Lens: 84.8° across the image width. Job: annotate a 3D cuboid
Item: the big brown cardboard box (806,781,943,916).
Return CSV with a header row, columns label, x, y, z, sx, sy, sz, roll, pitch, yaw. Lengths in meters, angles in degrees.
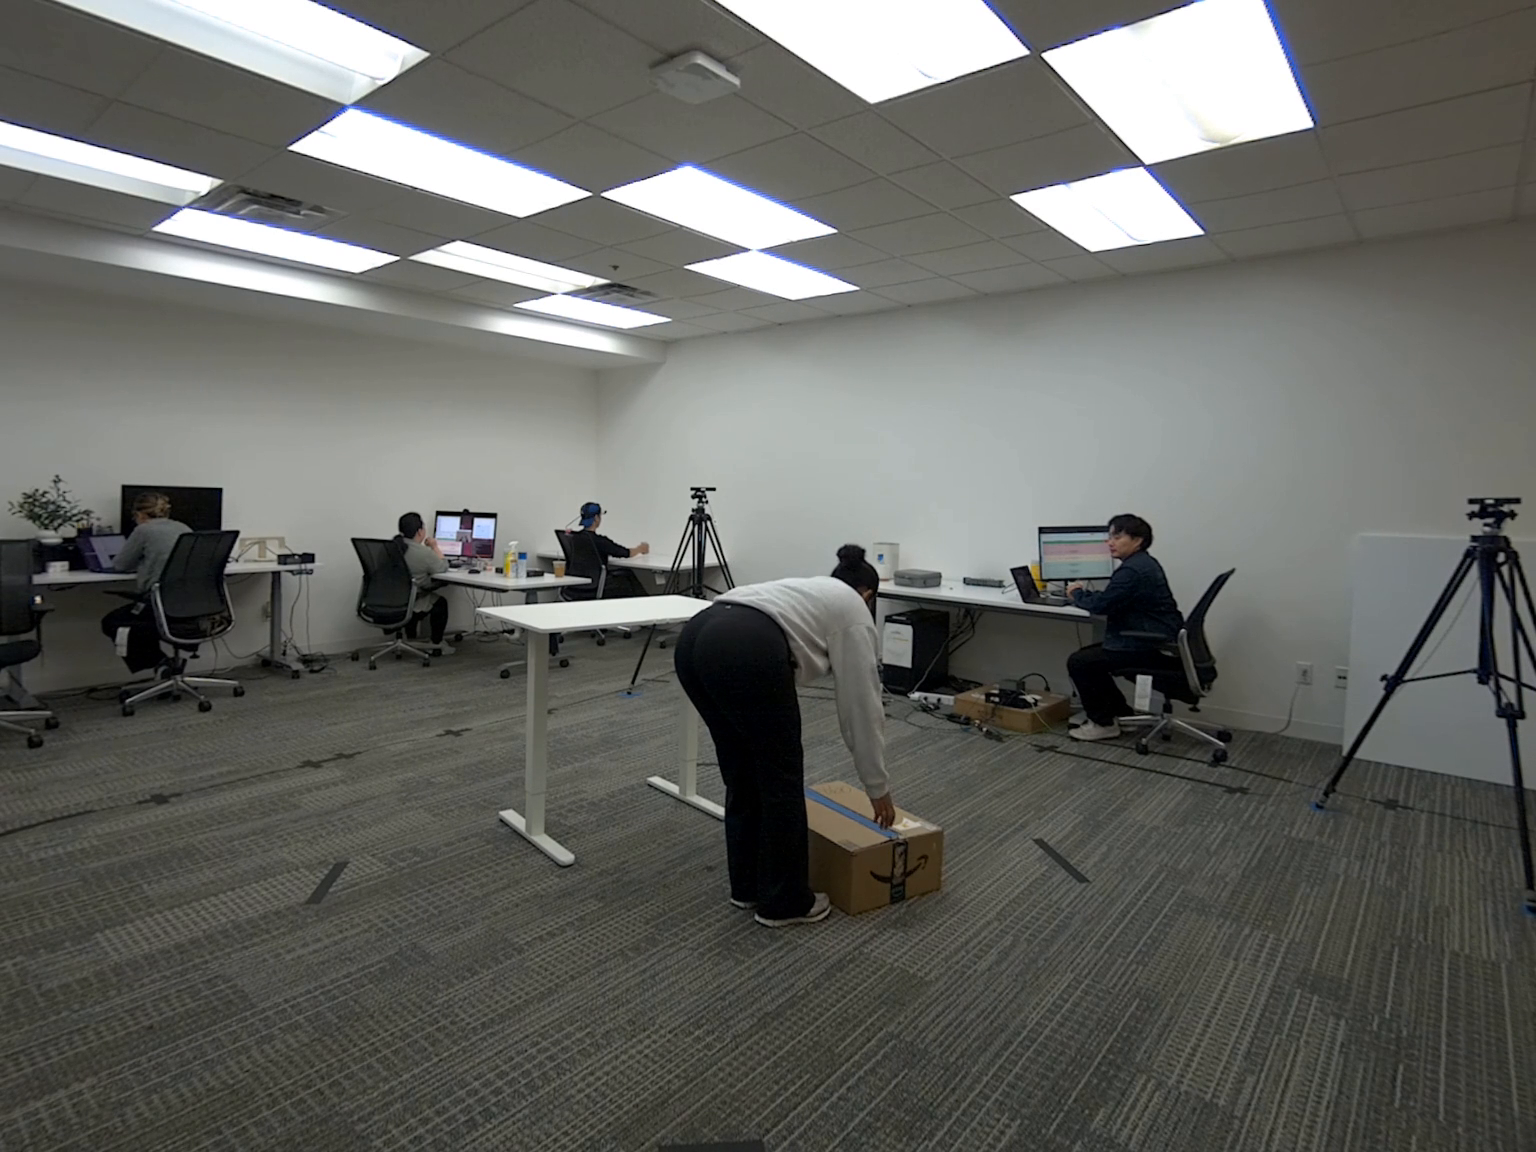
label,x,y,z,sx,sy,sz,roll,pitch,yaw
big brown cardboard box,0.274,0.964,3.110,0.406,0.232,0.608,-2,5,-34
